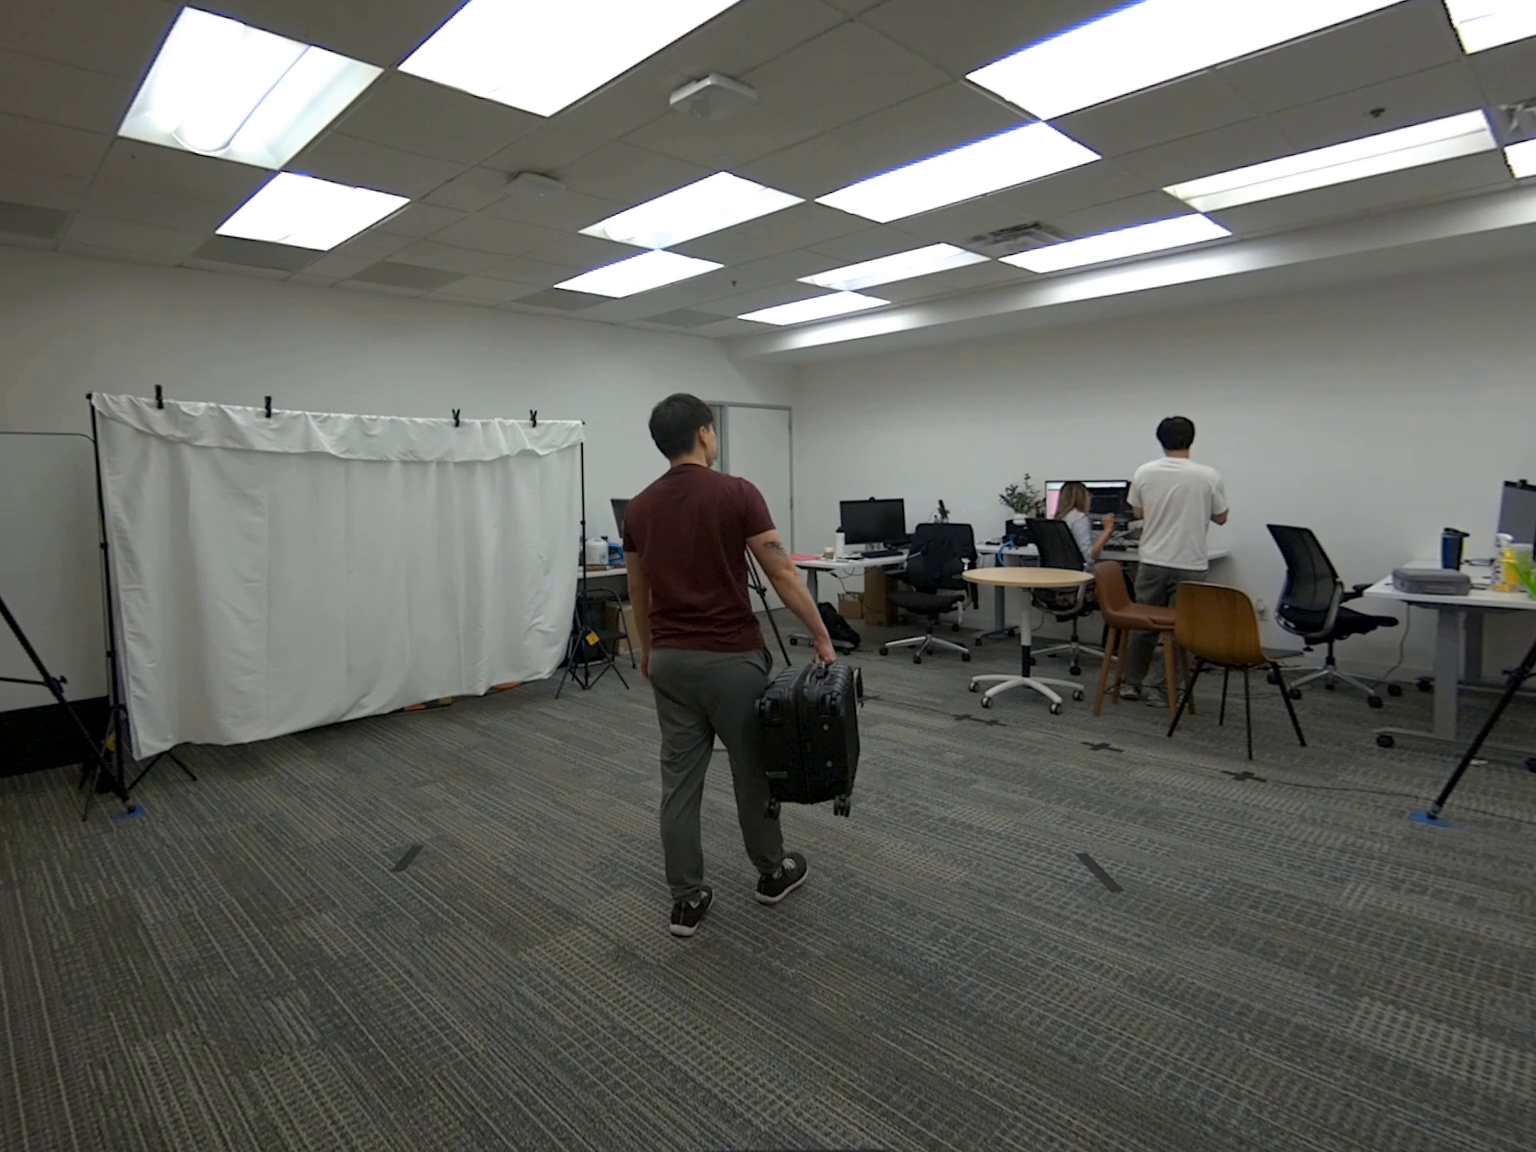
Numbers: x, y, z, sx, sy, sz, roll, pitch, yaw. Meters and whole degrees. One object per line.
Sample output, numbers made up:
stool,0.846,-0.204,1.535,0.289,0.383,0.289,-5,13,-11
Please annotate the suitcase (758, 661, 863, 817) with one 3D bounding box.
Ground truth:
suitcase,0.189,0.467,2.905,0.259,0.383,0.972,-4,4,8
